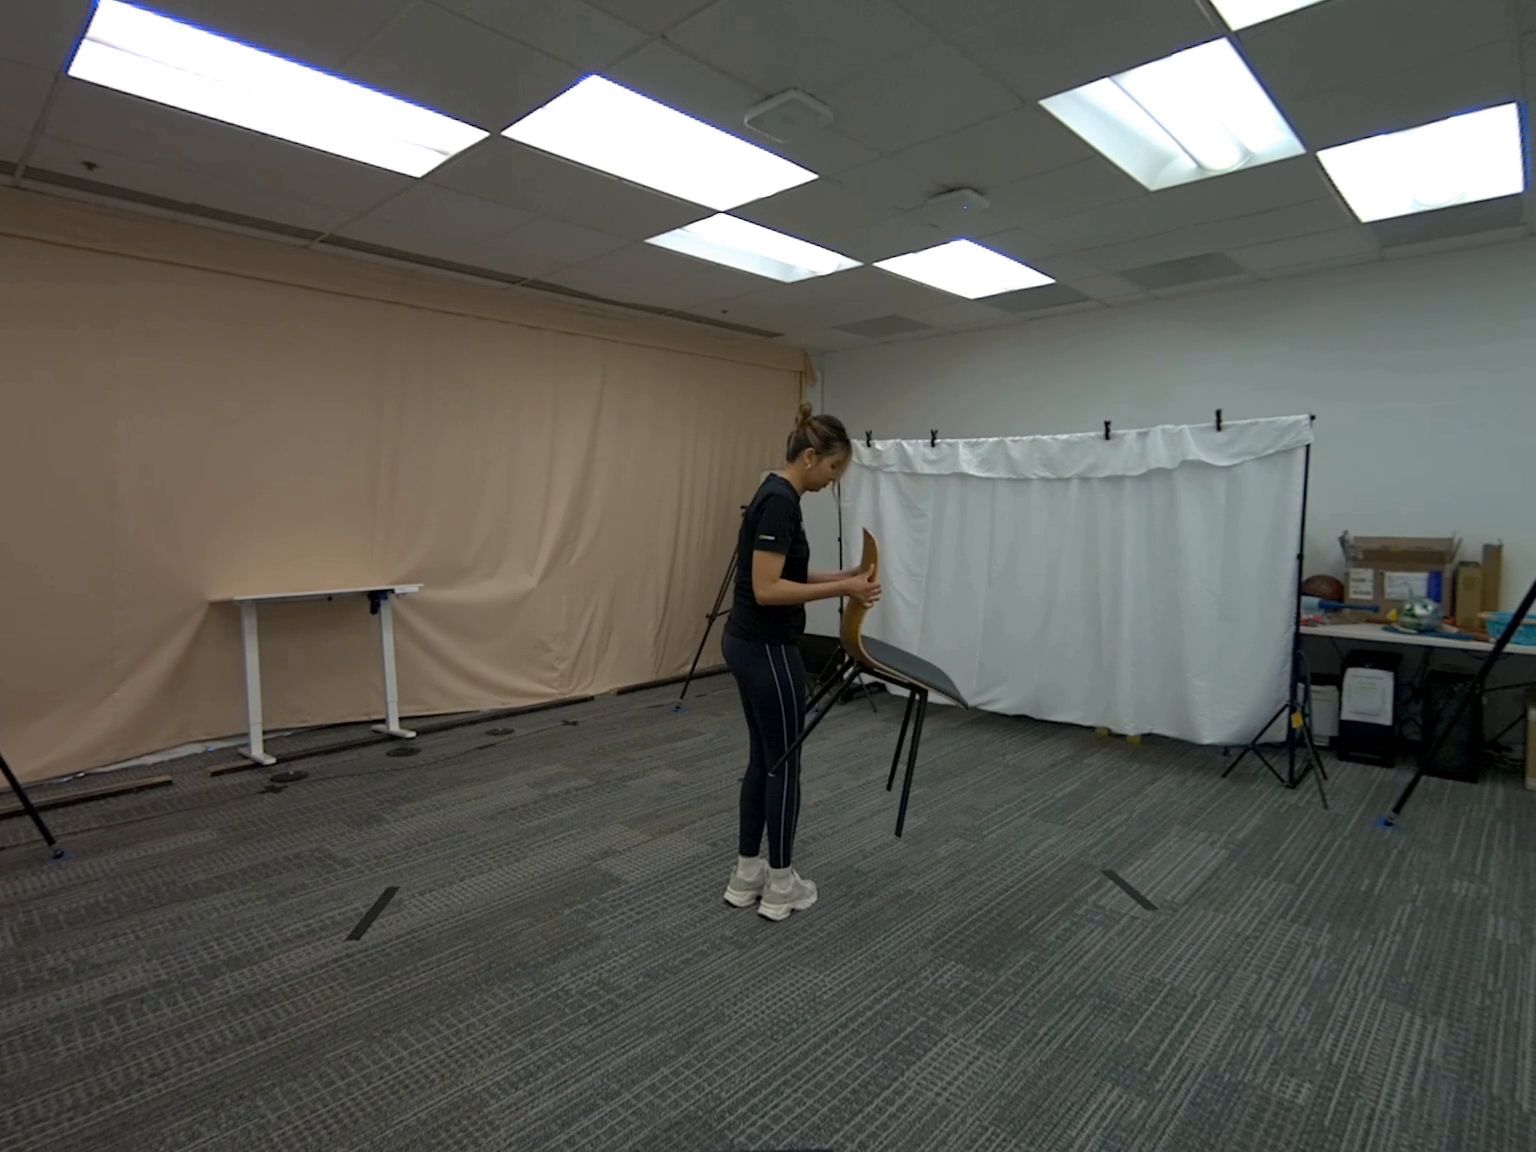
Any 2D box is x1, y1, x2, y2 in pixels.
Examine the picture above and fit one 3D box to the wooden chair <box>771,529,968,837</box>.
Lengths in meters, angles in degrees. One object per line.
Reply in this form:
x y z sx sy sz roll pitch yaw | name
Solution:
0.422 0.339 2.846 0.527 0.876 0.476 21 5 4 | wooden chair
